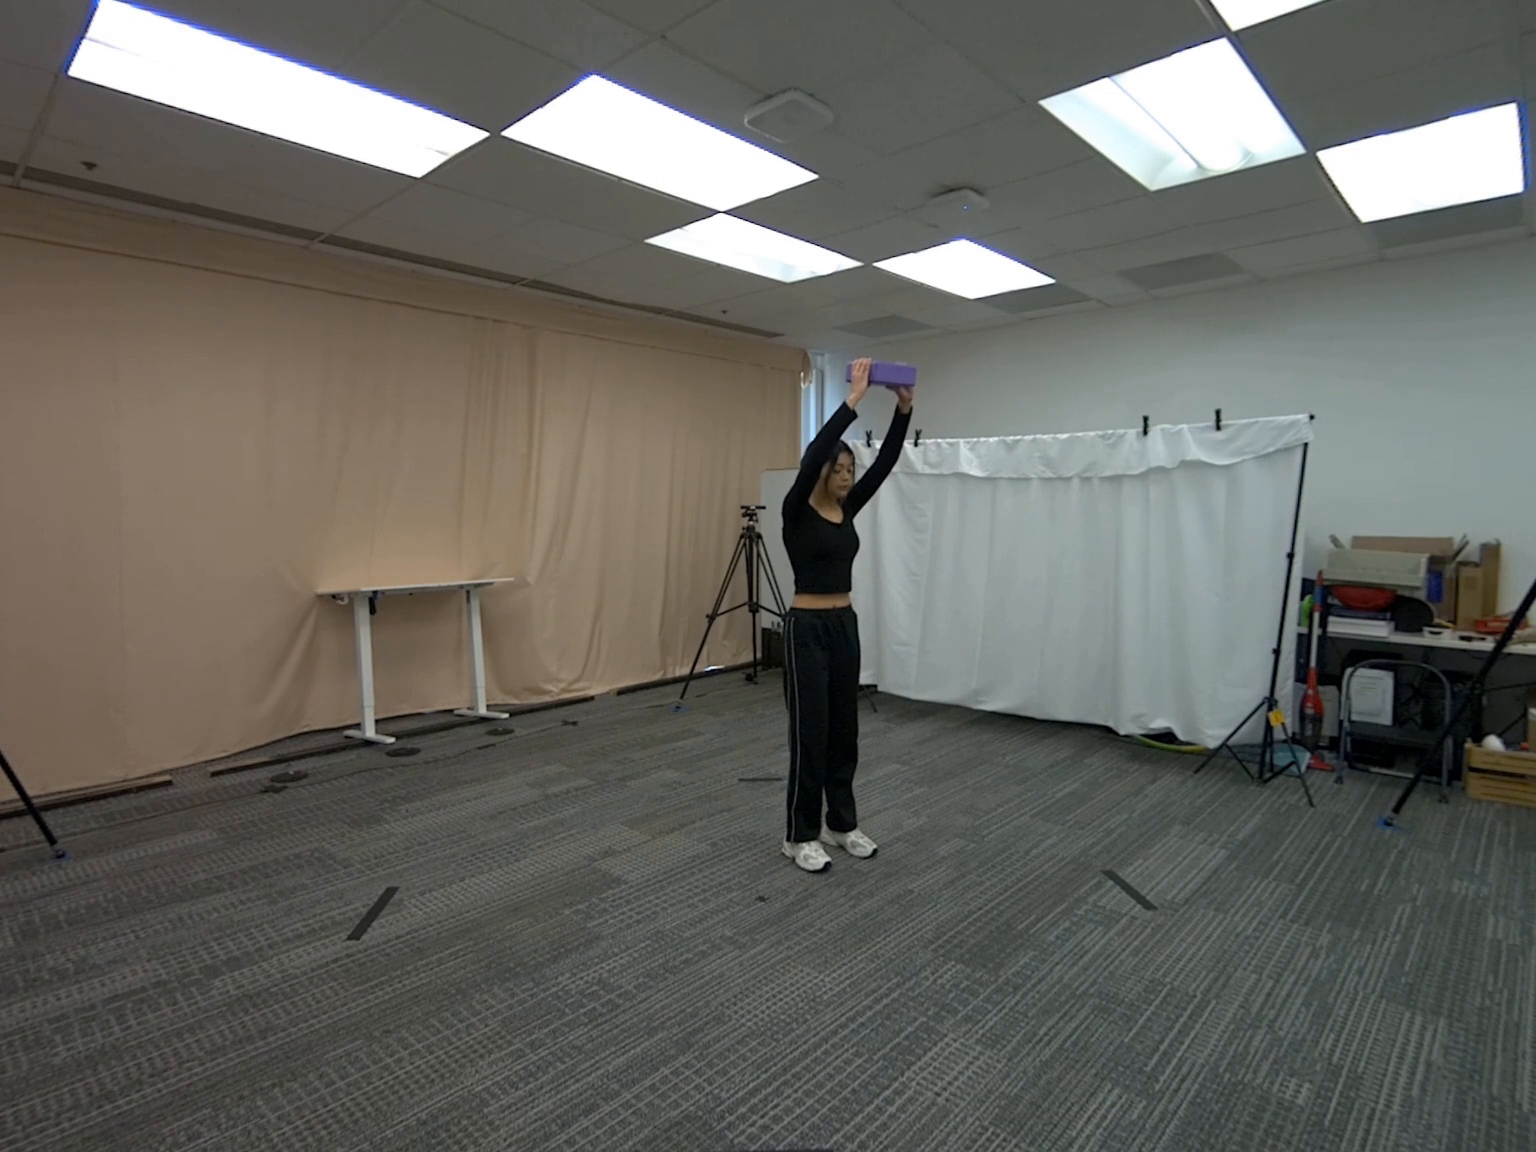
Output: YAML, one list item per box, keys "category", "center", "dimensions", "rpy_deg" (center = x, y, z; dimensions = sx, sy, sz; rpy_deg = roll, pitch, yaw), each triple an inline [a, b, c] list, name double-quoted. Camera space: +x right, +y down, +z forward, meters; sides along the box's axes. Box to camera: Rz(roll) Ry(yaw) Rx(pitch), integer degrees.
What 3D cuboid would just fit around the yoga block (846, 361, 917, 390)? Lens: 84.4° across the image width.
- category: "yoga block"
  center: [0.416, -0.736, 3.060]
  dimensions: [0.222, 0.076, 0.154]
  rpy_deg: [-5, 13, -38]
